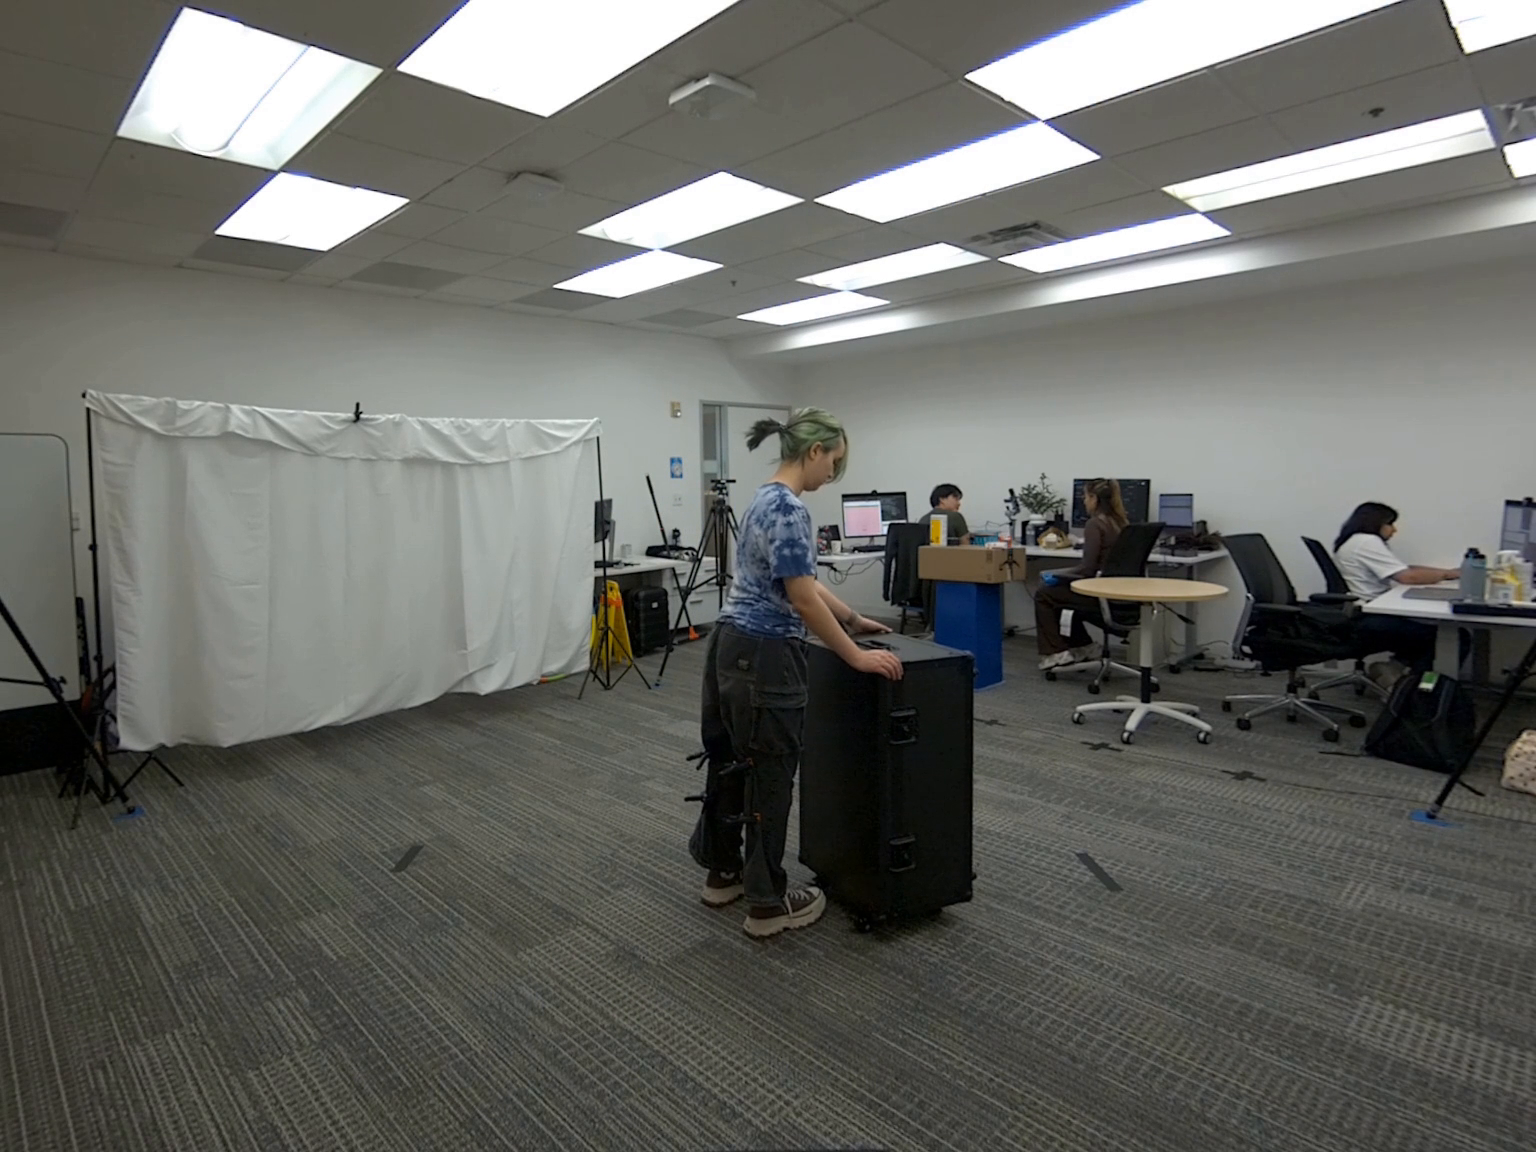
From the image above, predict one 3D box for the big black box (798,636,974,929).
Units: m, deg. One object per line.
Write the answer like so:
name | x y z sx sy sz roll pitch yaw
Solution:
big black box | 0.383 0.654 2.807 0.387 0.859 0.535 -1 4 -27
